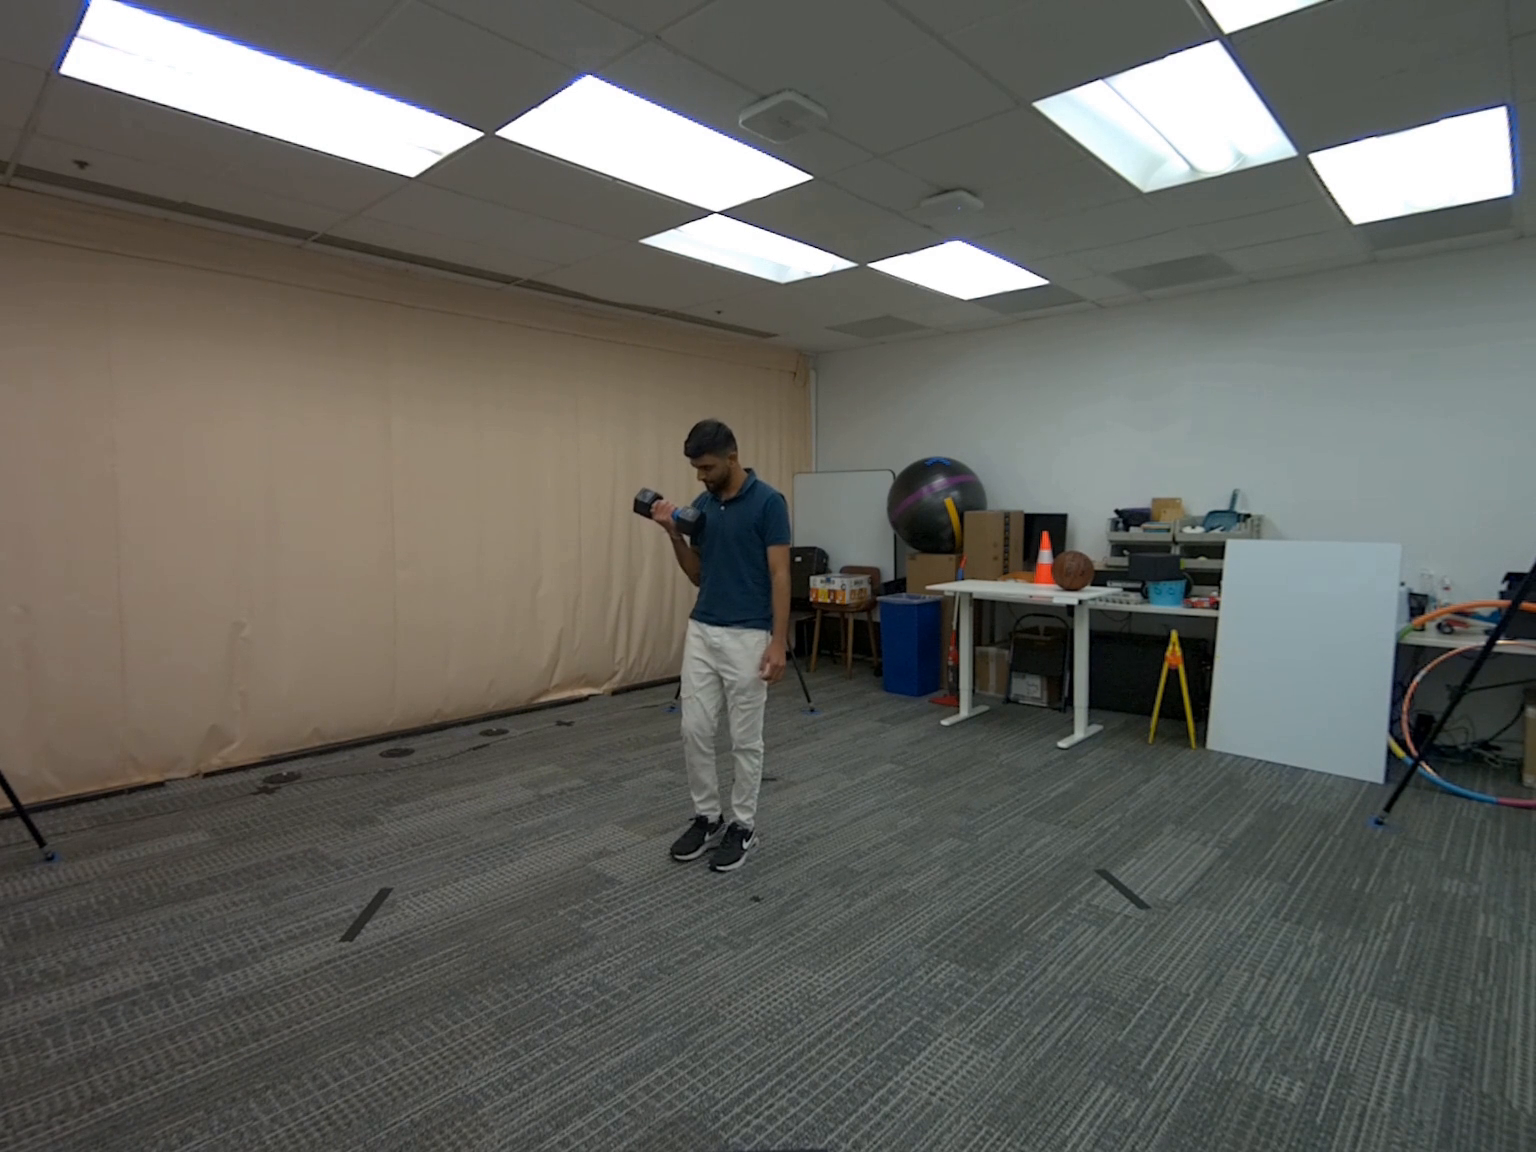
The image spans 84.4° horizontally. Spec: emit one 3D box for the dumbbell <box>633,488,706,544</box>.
[{"bbox_3d":[-0.392,-0.234,3.291,0.302,0.122,0.106,23,-30,23],"label":"dumbbell"}]
